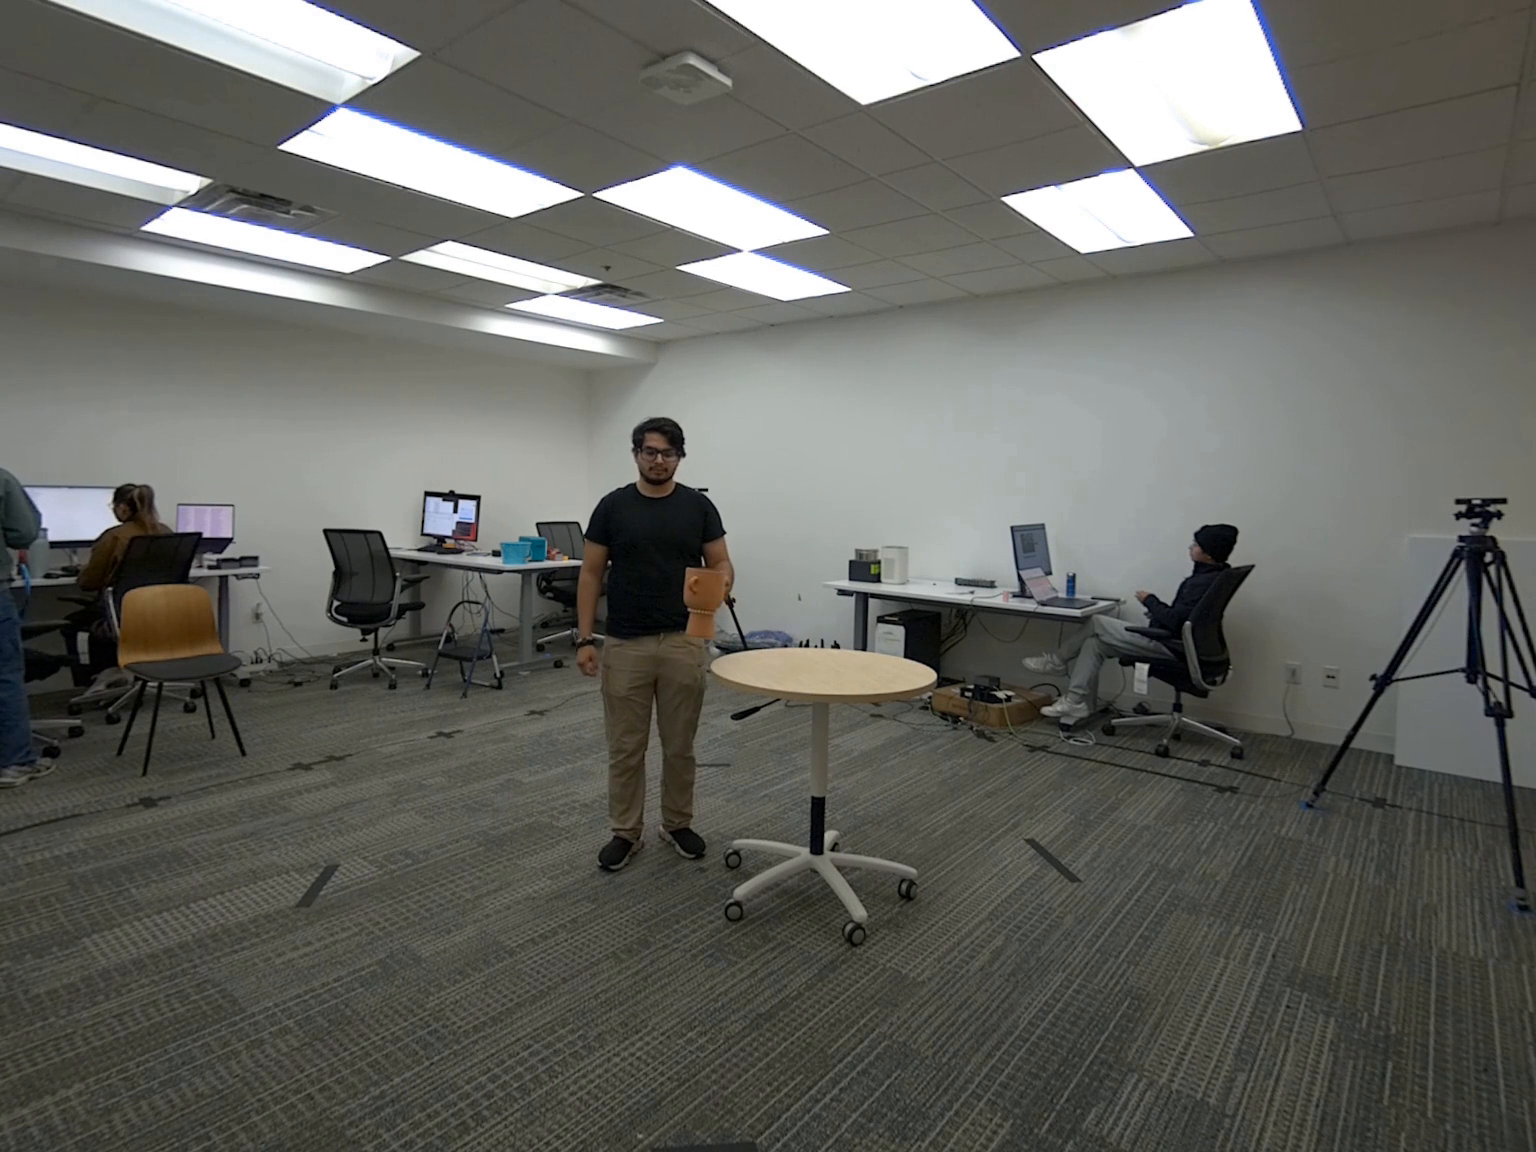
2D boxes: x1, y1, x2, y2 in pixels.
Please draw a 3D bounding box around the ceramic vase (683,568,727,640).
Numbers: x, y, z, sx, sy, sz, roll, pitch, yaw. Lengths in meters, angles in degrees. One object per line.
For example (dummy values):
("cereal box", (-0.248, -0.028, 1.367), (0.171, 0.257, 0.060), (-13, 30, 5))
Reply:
("ceramic vase", (-0.222, 0.089, 2.828), (0.155, 0.219, 0.138), (3, 2, -25))
